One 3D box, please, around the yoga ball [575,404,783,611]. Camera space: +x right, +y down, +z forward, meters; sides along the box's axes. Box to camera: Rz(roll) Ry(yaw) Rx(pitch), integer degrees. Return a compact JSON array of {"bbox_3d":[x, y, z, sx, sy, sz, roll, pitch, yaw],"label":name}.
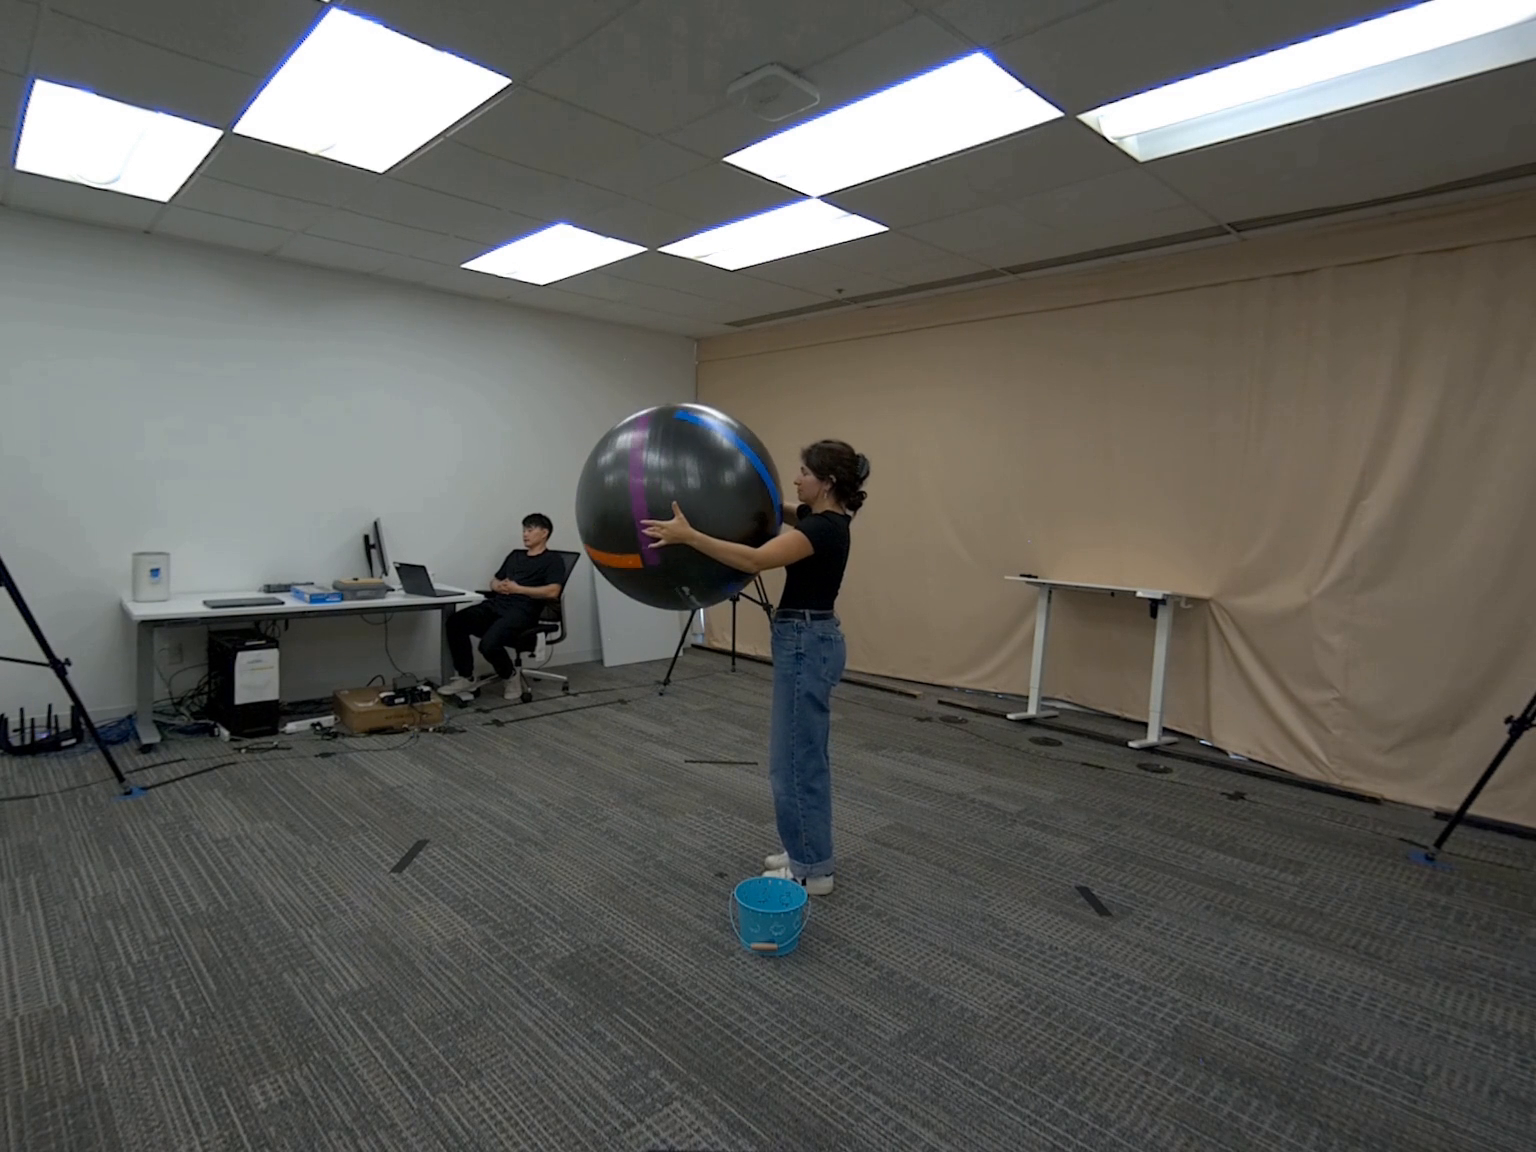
[{"bbox_3d":[-0.331,-0.245,3.087,0.757,0.756,0.761,1,4,-1],"label":"yoga ball"}]
